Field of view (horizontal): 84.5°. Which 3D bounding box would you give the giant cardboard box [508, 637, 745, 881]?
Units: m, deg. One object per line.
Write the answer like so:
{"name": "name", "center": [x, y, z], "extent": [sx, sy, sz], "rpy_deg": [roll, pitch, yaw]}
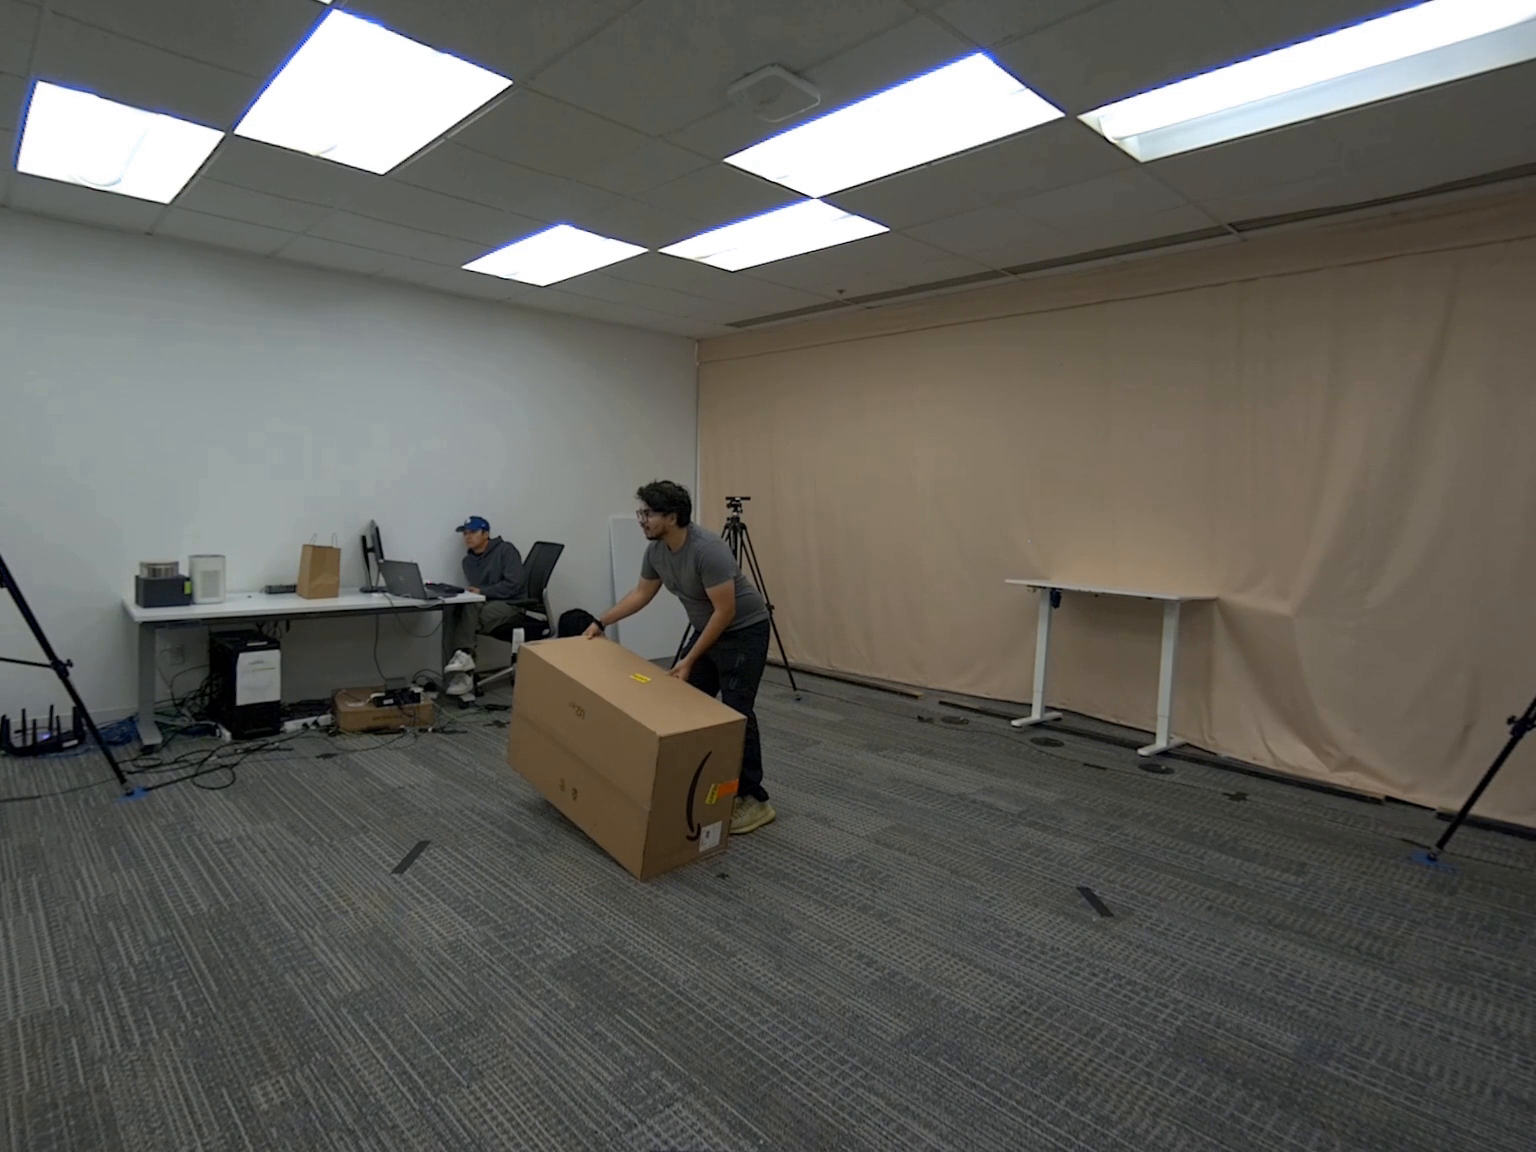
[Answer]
{"name": "giant cardboard box", "center": [-0.632, 0.695, 3.480], "extent": [0.416, 0.574, 1.057], "rpy_deg": [-2, 16, -44]}
